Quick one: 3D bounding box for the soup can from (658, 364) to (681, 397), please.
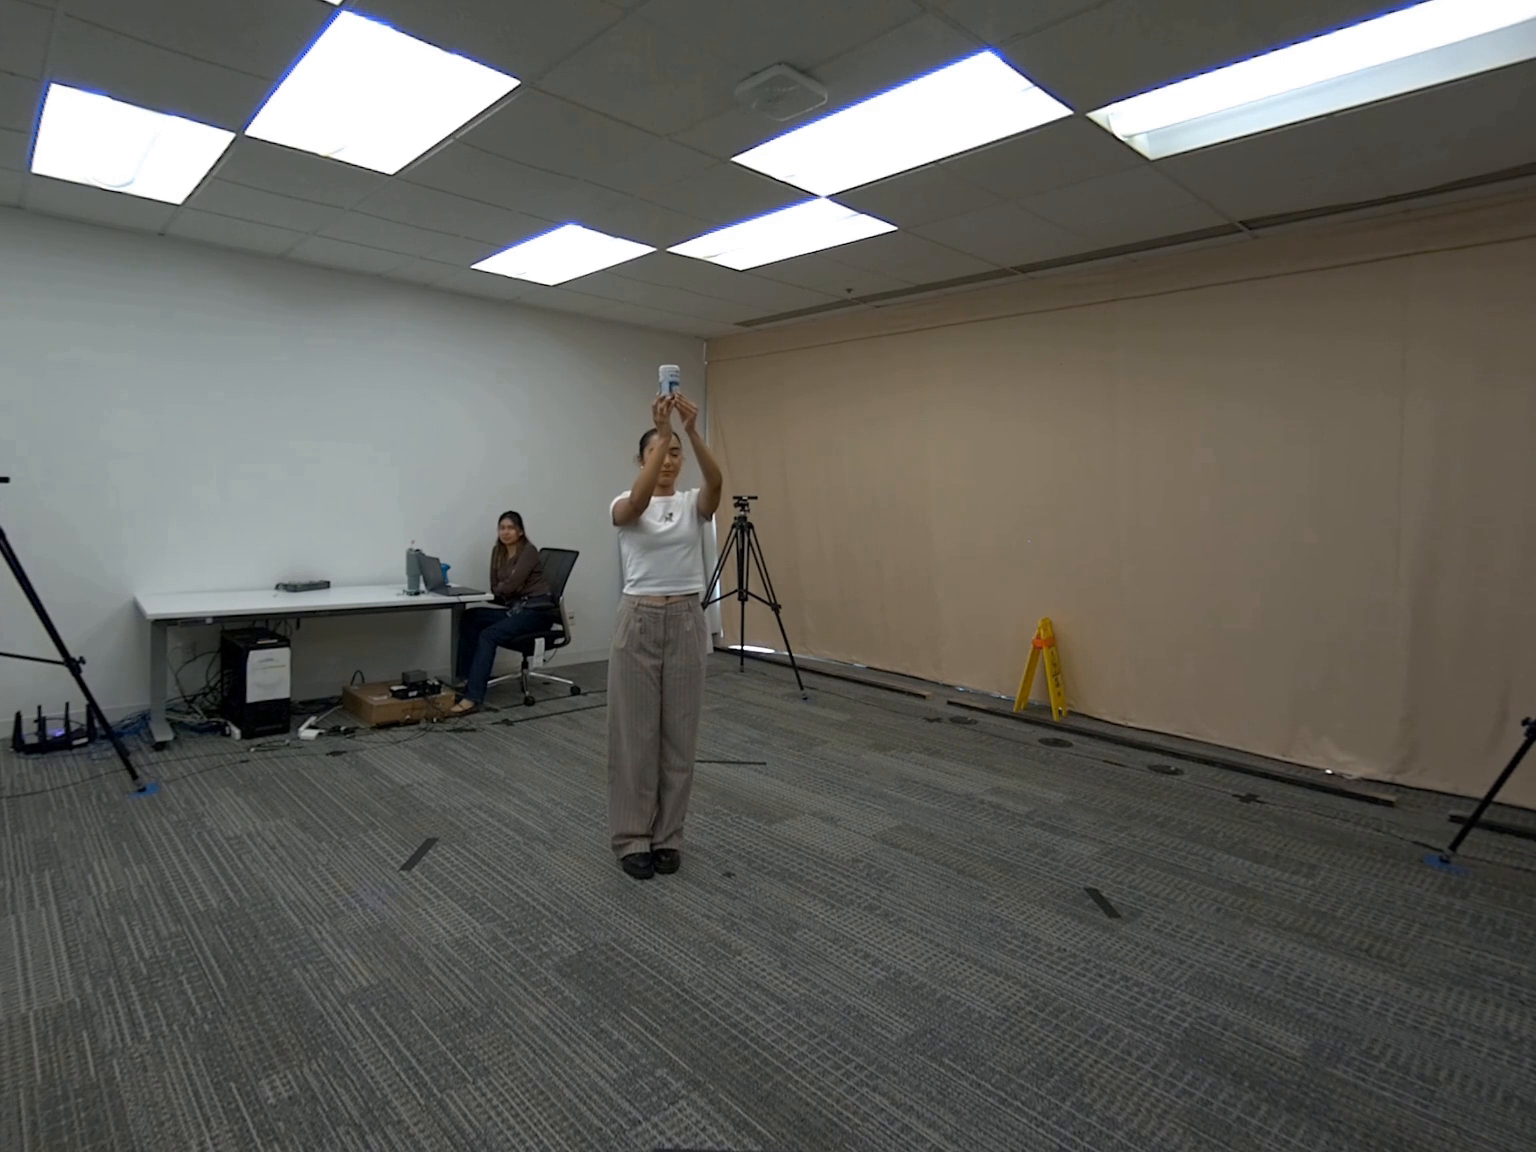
[{"bbox_3d":[-0.330,-0.636,2.785,0.067,0.121,0.067,1,3,-1],"label":"soup can"}]
